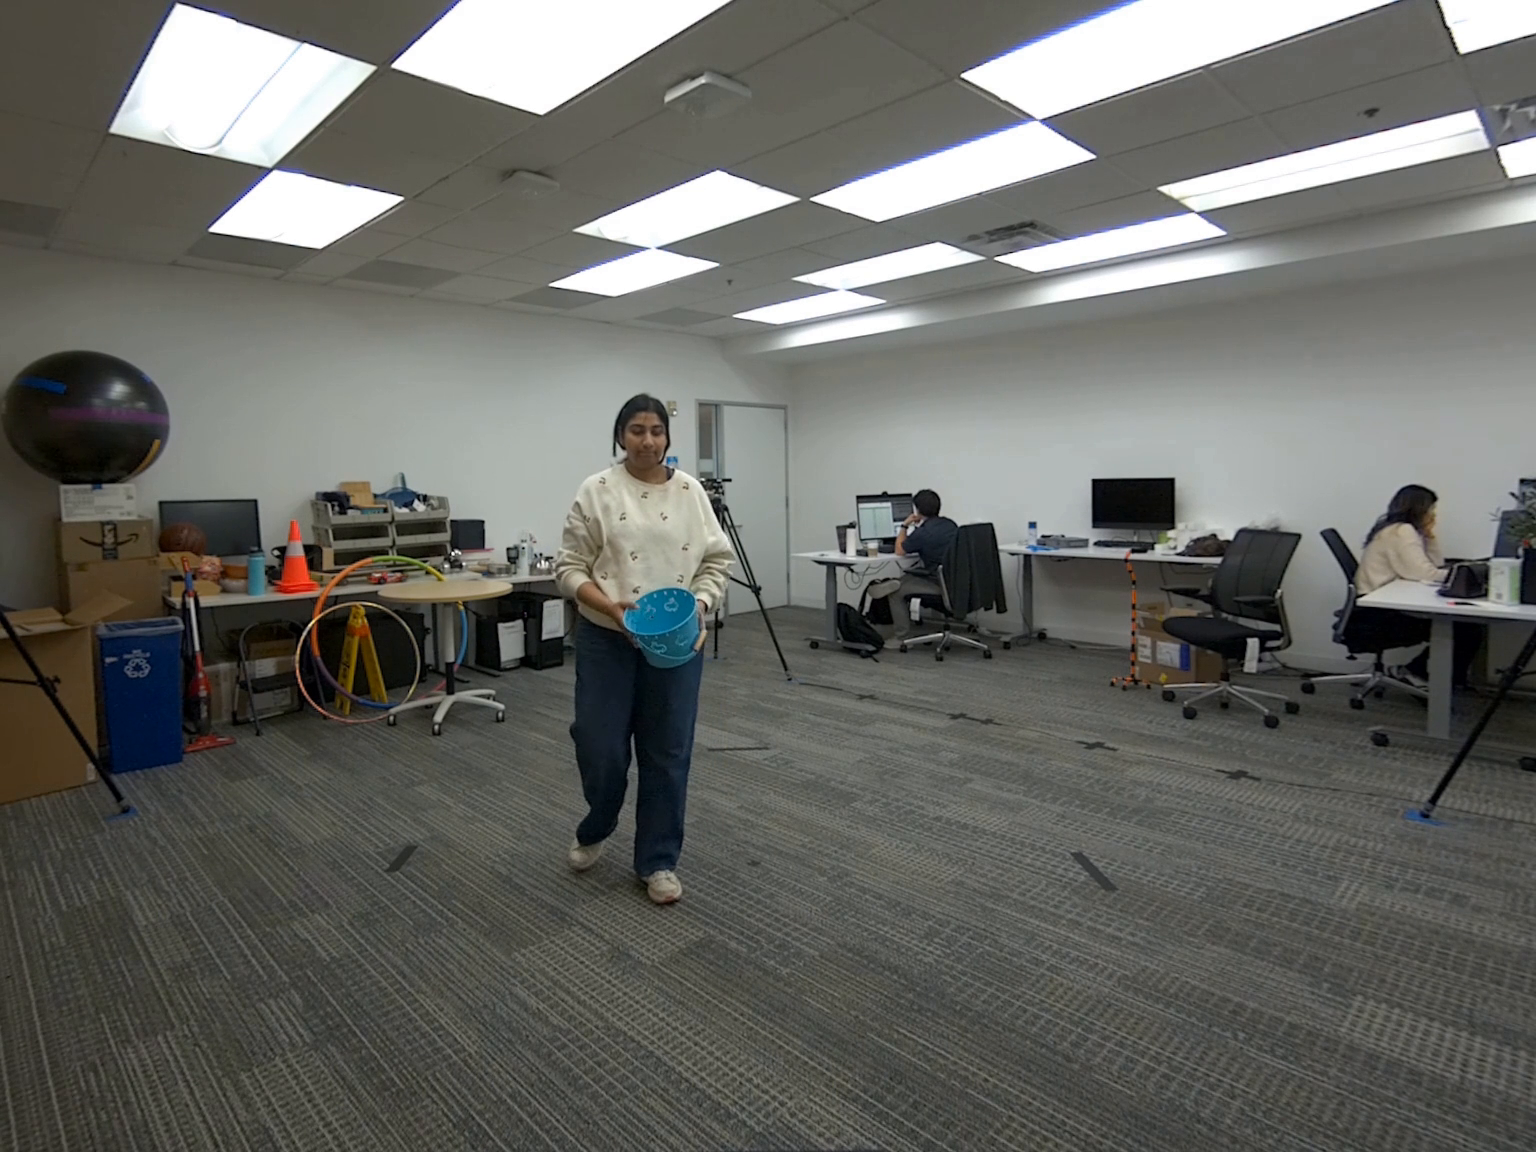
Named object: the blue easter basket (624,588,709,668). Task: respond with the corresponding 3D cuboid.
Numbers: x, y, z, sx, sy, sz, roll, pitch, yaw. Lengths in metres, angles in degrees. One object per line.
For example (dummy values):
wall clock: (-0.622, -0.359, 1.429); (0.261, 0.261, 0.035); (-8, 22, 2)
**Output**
blue easter basket: (-0.326, 0.154, 2.630); (0.245, 0.151, 0.249); (-15, 30, 7)
